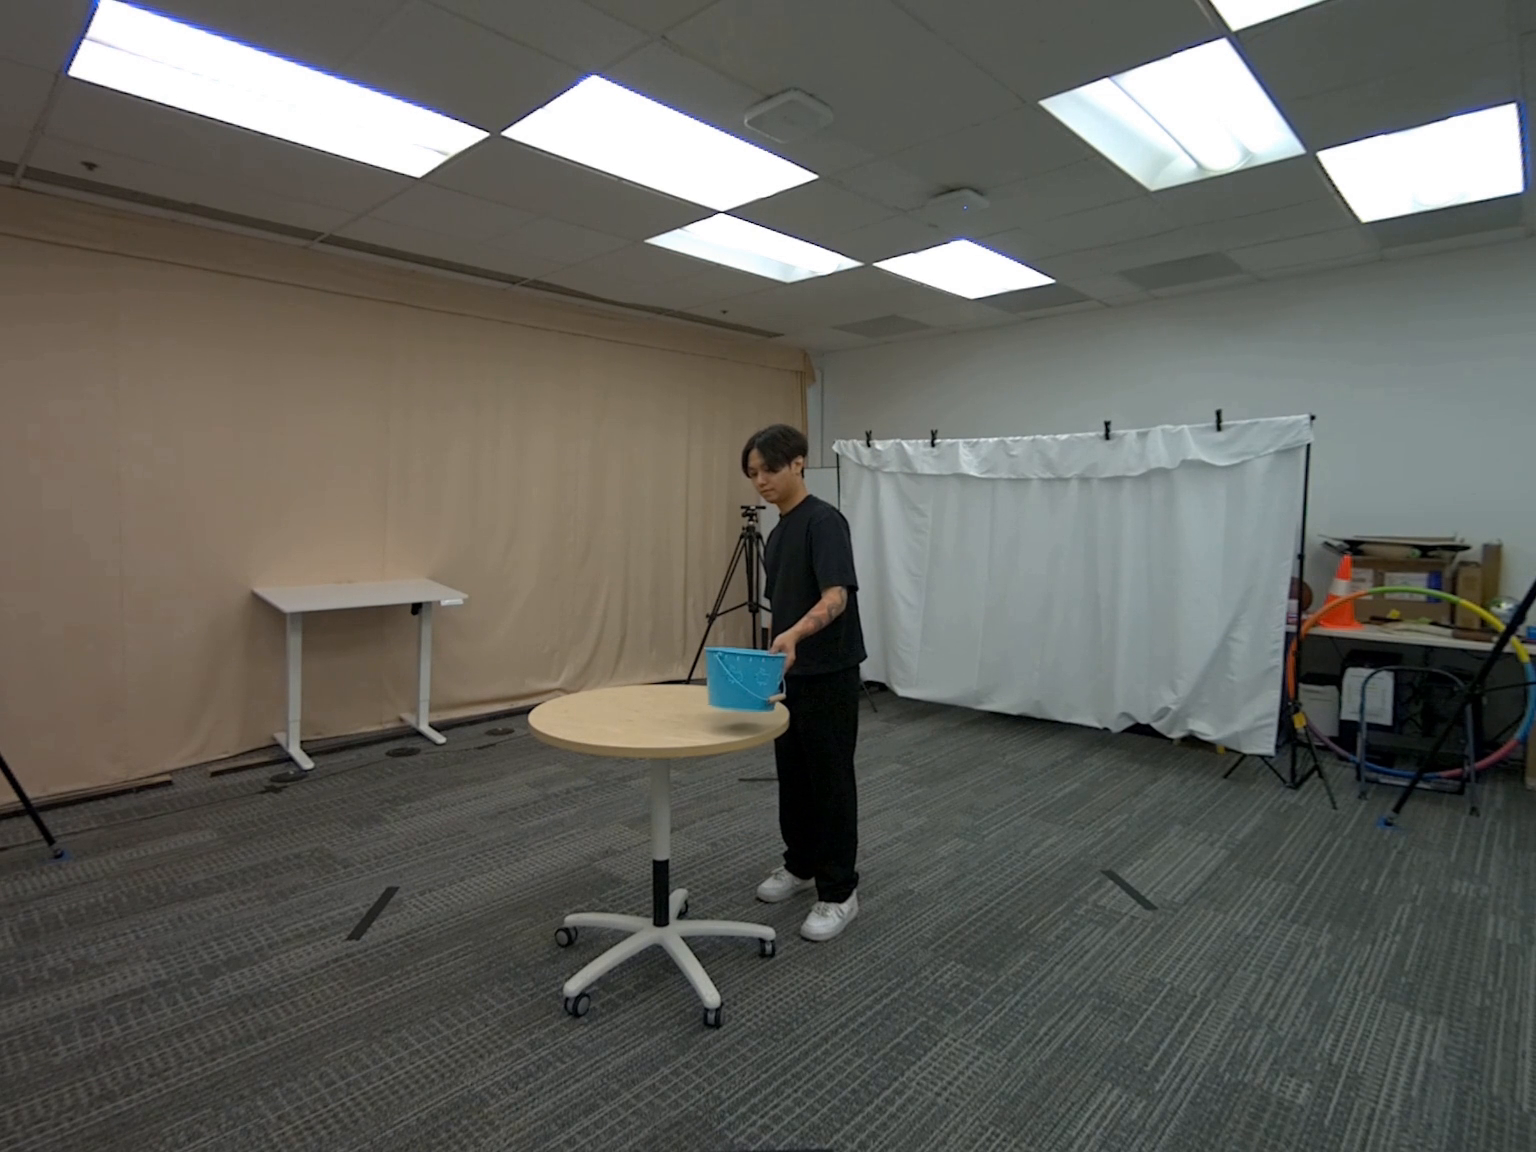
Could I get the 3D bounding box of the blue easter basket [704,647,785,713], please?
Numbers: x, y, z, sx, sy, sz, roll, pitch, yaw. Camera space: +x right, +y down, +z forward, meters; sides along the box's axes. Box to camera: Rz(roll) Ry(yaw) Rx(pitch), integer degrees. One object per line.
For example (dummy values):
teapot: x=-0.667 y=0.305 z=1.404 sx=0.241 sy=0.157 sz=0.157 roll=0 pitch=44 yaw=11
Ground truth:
blue easter basket: x=-0.059 y=0.287 z=2.279 sx=0.243 sy=0.156 sz=0.243 roll=3 pitch=-3 yaw=-2
